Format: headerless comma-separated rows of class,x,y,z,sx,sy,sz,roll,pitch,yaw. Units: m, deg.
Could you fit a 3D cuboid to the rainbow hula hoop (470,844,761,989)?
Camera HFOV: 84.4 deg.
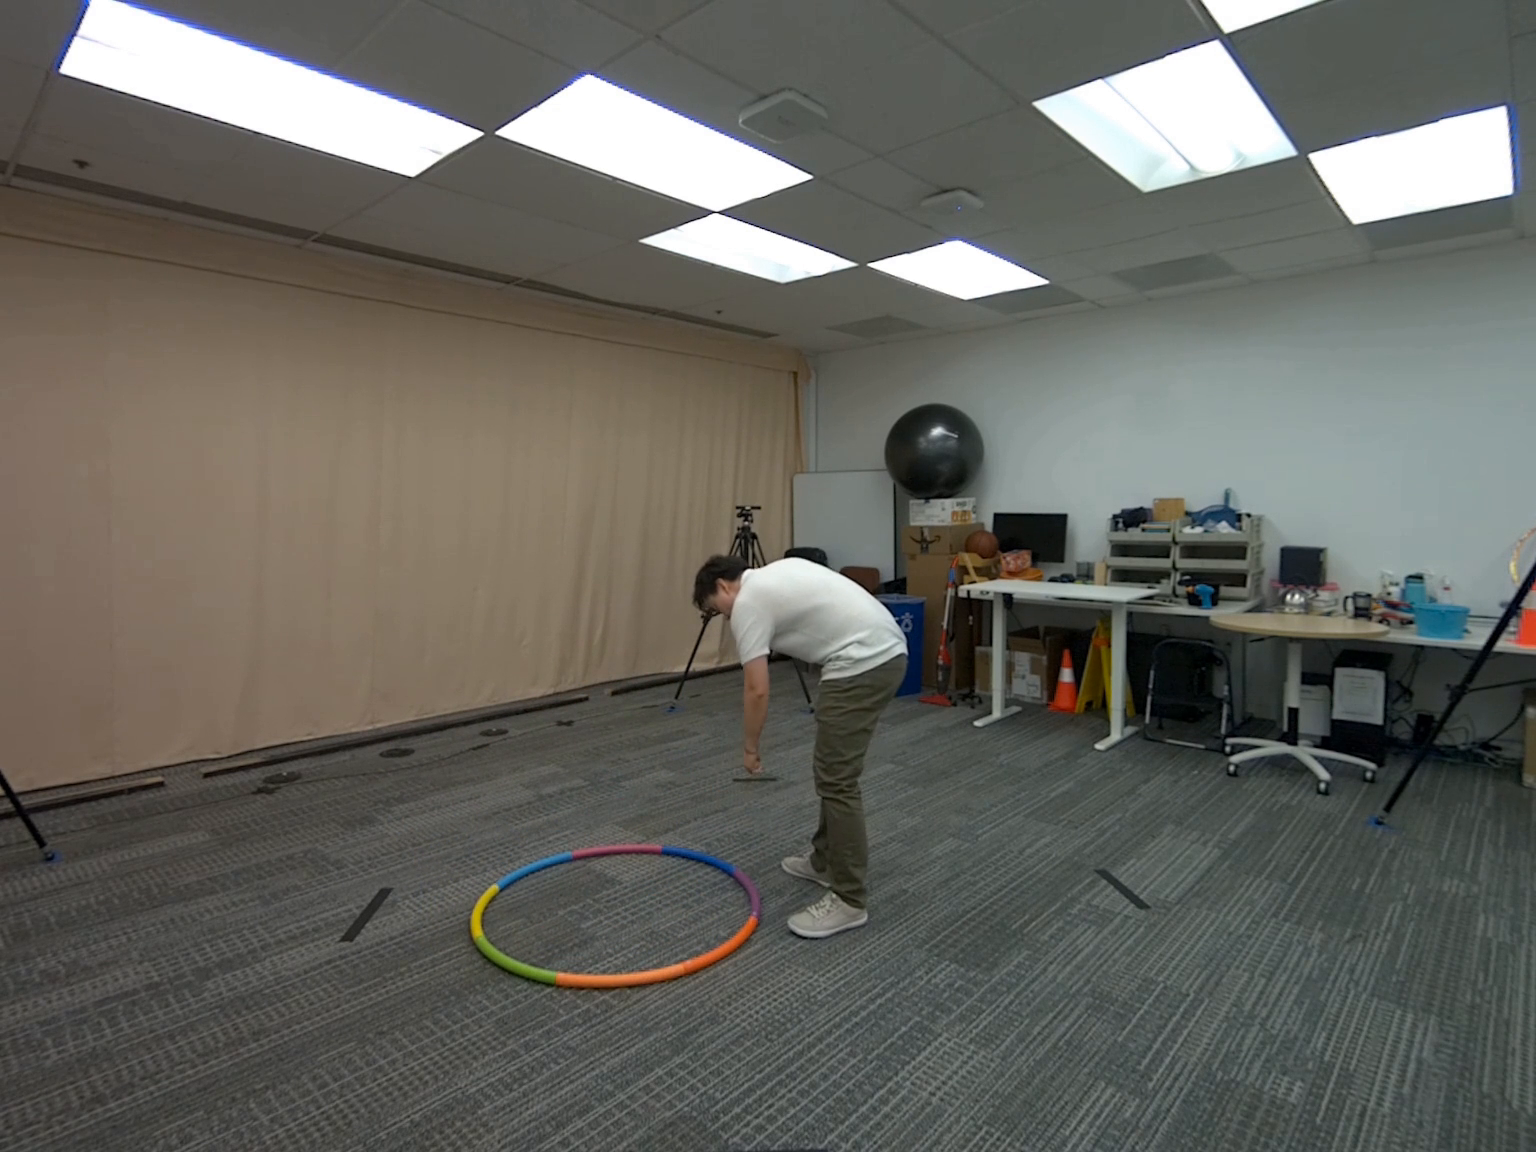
rainbow hula hoop,-0.516,1.118,2.909,0.978,0.035,0.982,-1,5,-2
